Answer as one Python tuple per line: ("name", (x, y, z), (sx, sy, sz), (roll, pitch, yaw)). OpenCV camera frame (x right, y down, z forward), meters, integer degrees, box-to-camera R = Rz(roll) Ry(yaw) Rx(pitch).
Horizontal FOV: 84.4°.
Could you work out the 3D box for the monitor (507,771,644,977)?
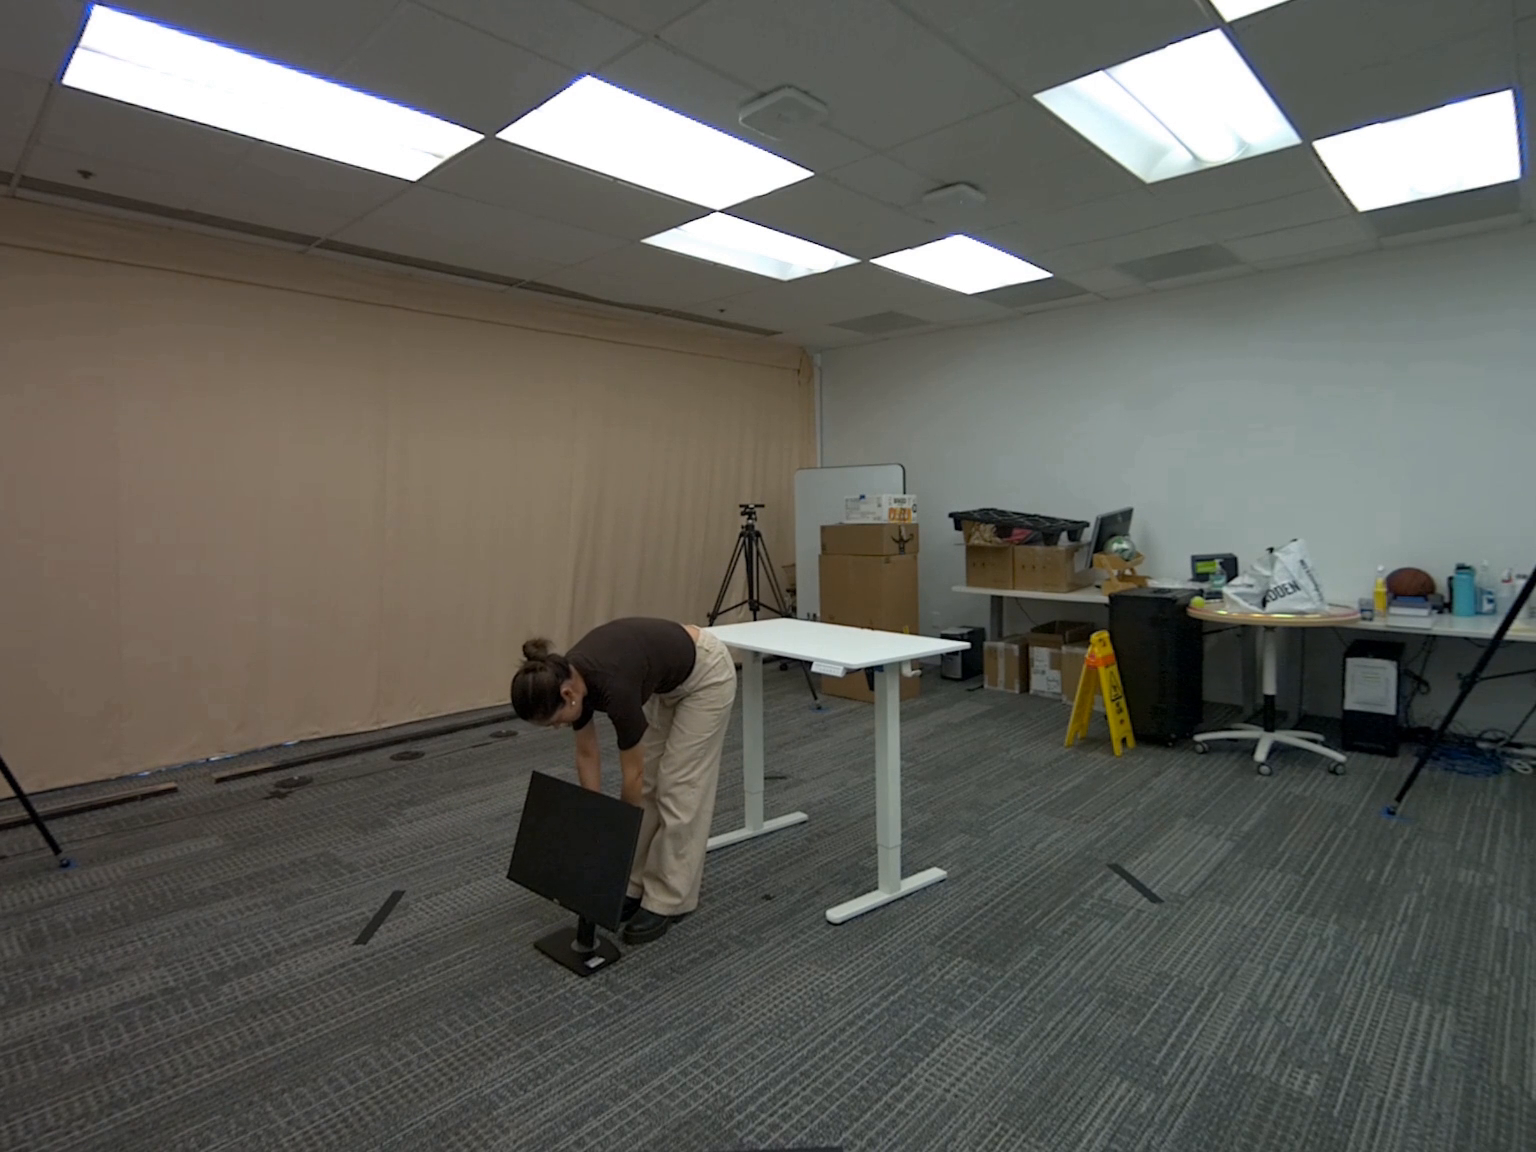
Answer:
("monitor", (-0.587, 0.927, 2.643), (0.557, 0.522, 0.181), (3, 2, 38))
